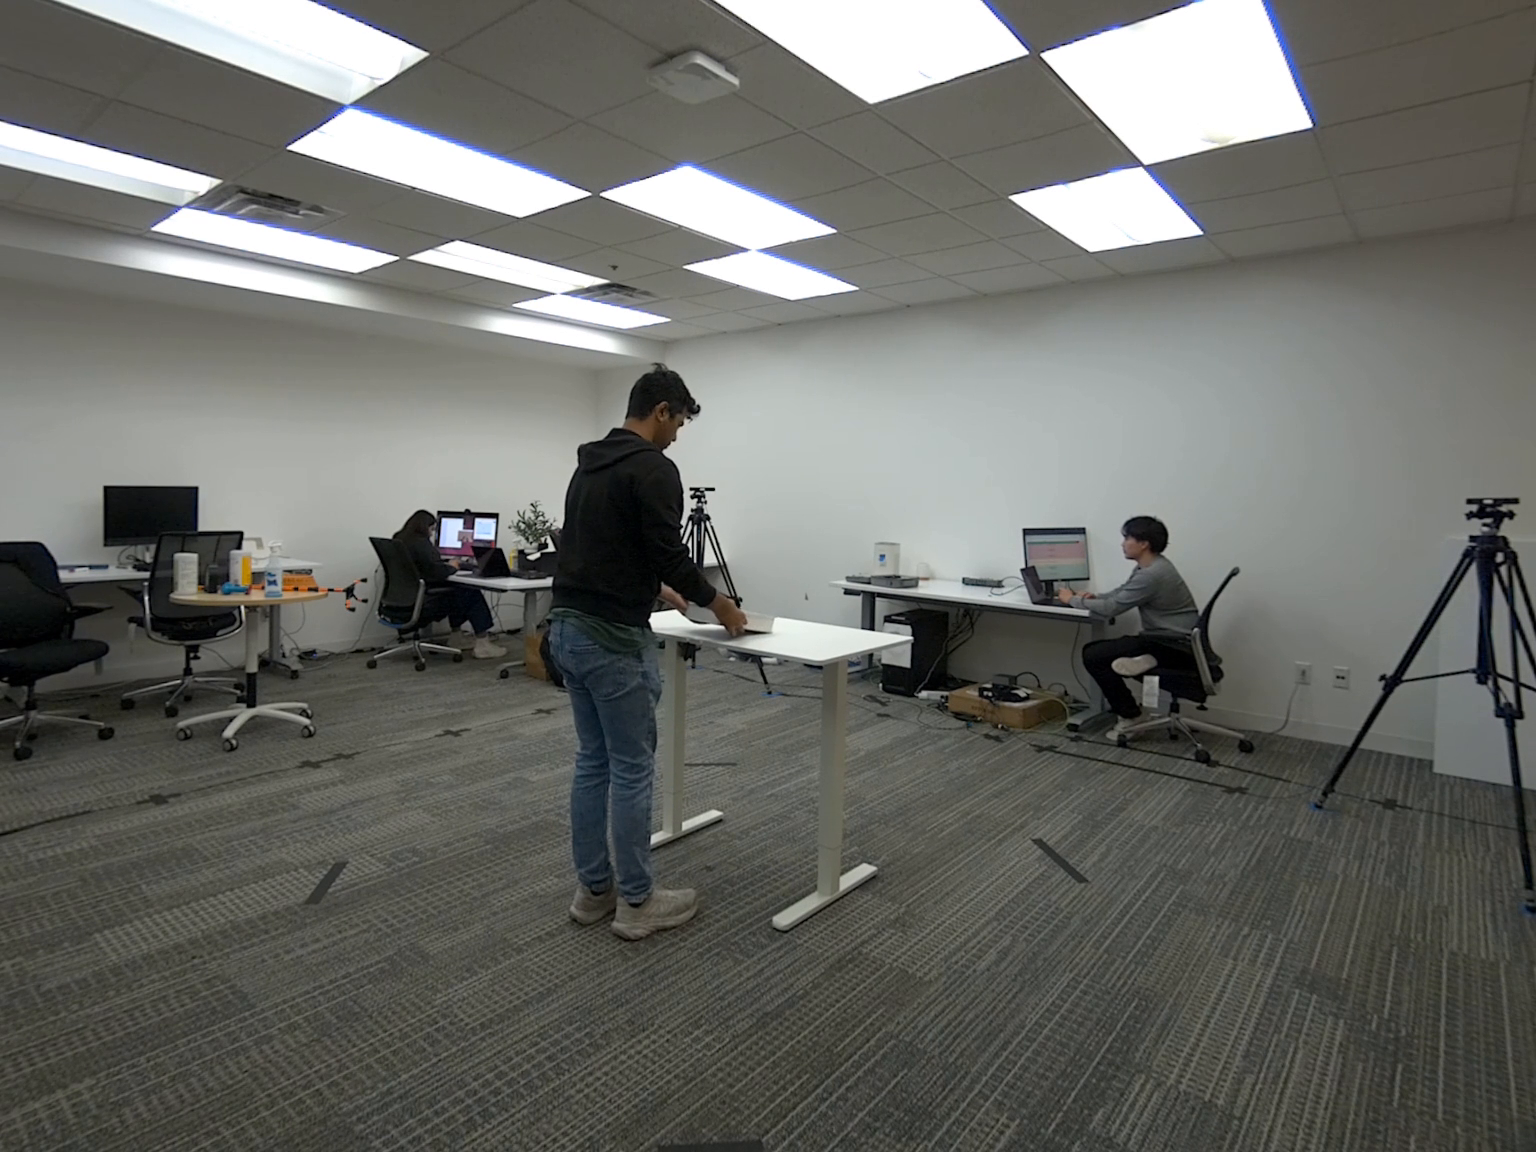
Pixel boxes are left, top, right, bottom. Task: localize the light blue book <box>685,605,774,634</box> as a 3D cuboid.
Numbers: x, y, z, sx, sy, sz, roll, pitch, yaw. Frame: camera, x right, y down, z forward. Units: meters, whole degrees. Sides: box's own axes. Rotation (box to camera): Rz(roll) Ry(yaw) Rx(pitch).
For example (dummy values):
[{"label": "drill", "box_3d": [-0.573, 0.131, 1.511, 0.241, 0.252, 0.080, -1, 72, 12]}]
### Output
[{"label": "light blue book", "box_3d": [-0.128, 0.145, 2.998, 0.252, 0.059, 0.198, 8, -1, -43]}]
